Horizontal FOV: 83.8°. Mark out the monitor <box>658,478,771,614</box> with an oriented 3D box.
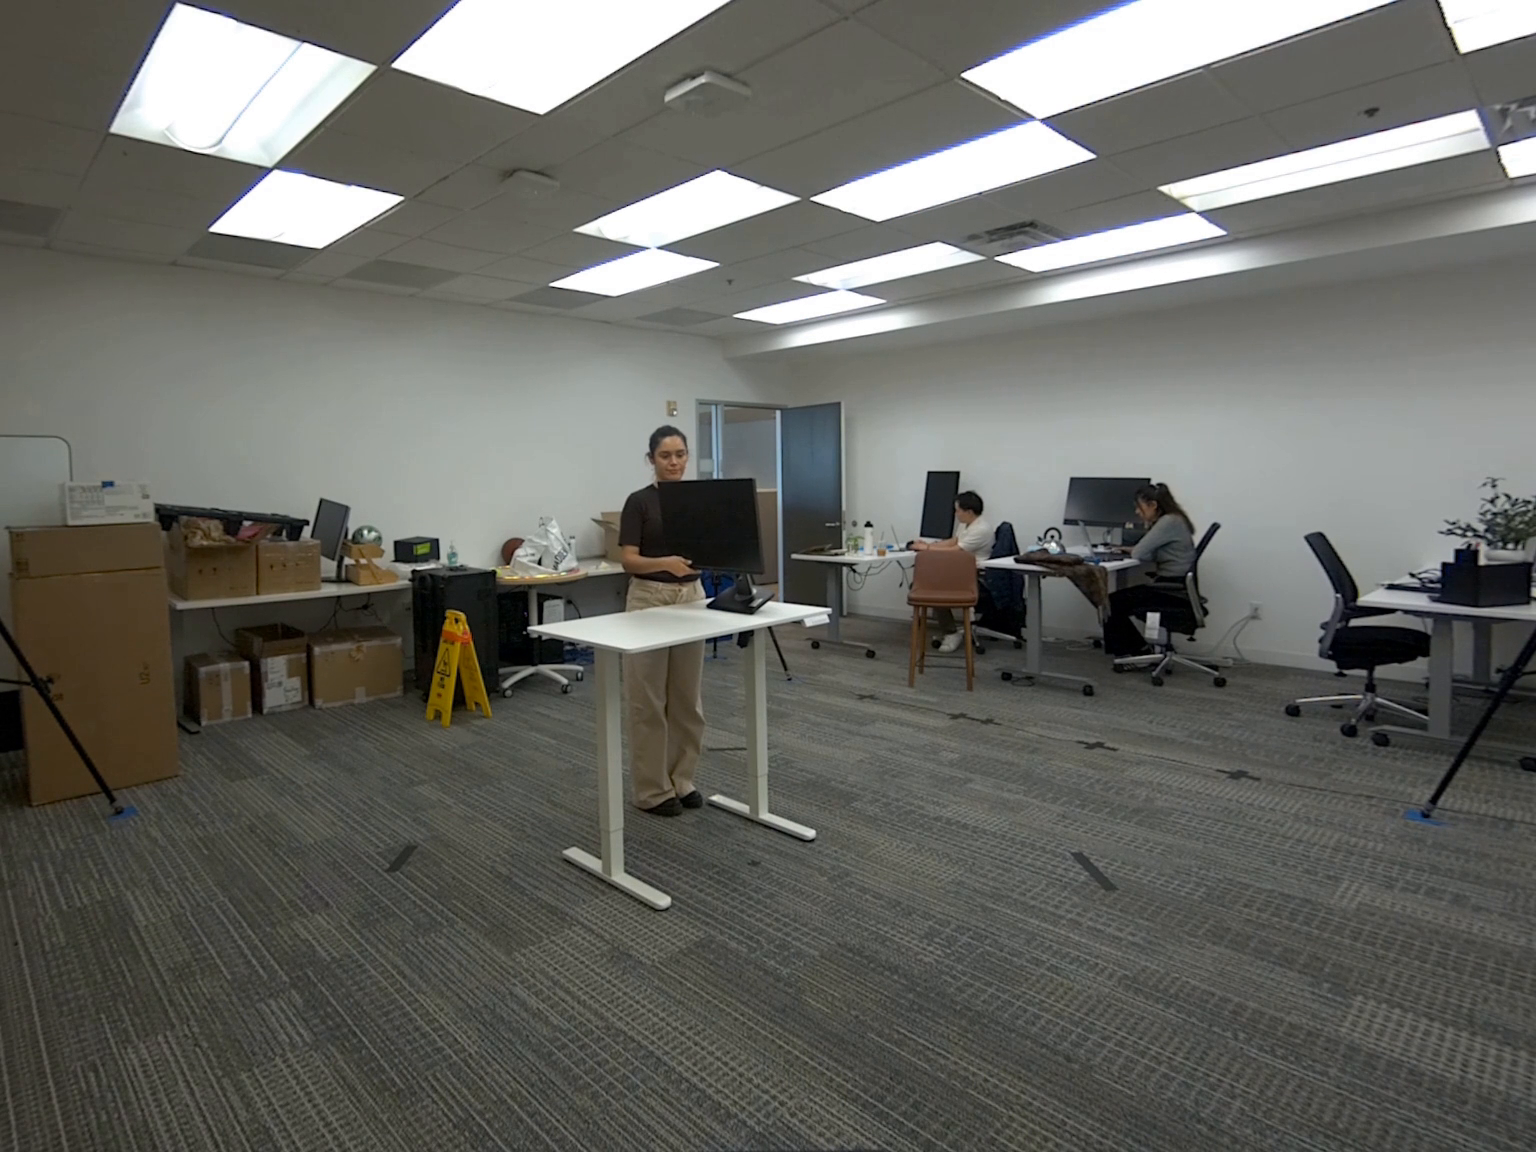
[{"bbox_3d":[-0.179,-0.124,3.286,0.555,0.512,0.185,3,26,45],"label":"monitor"}]
